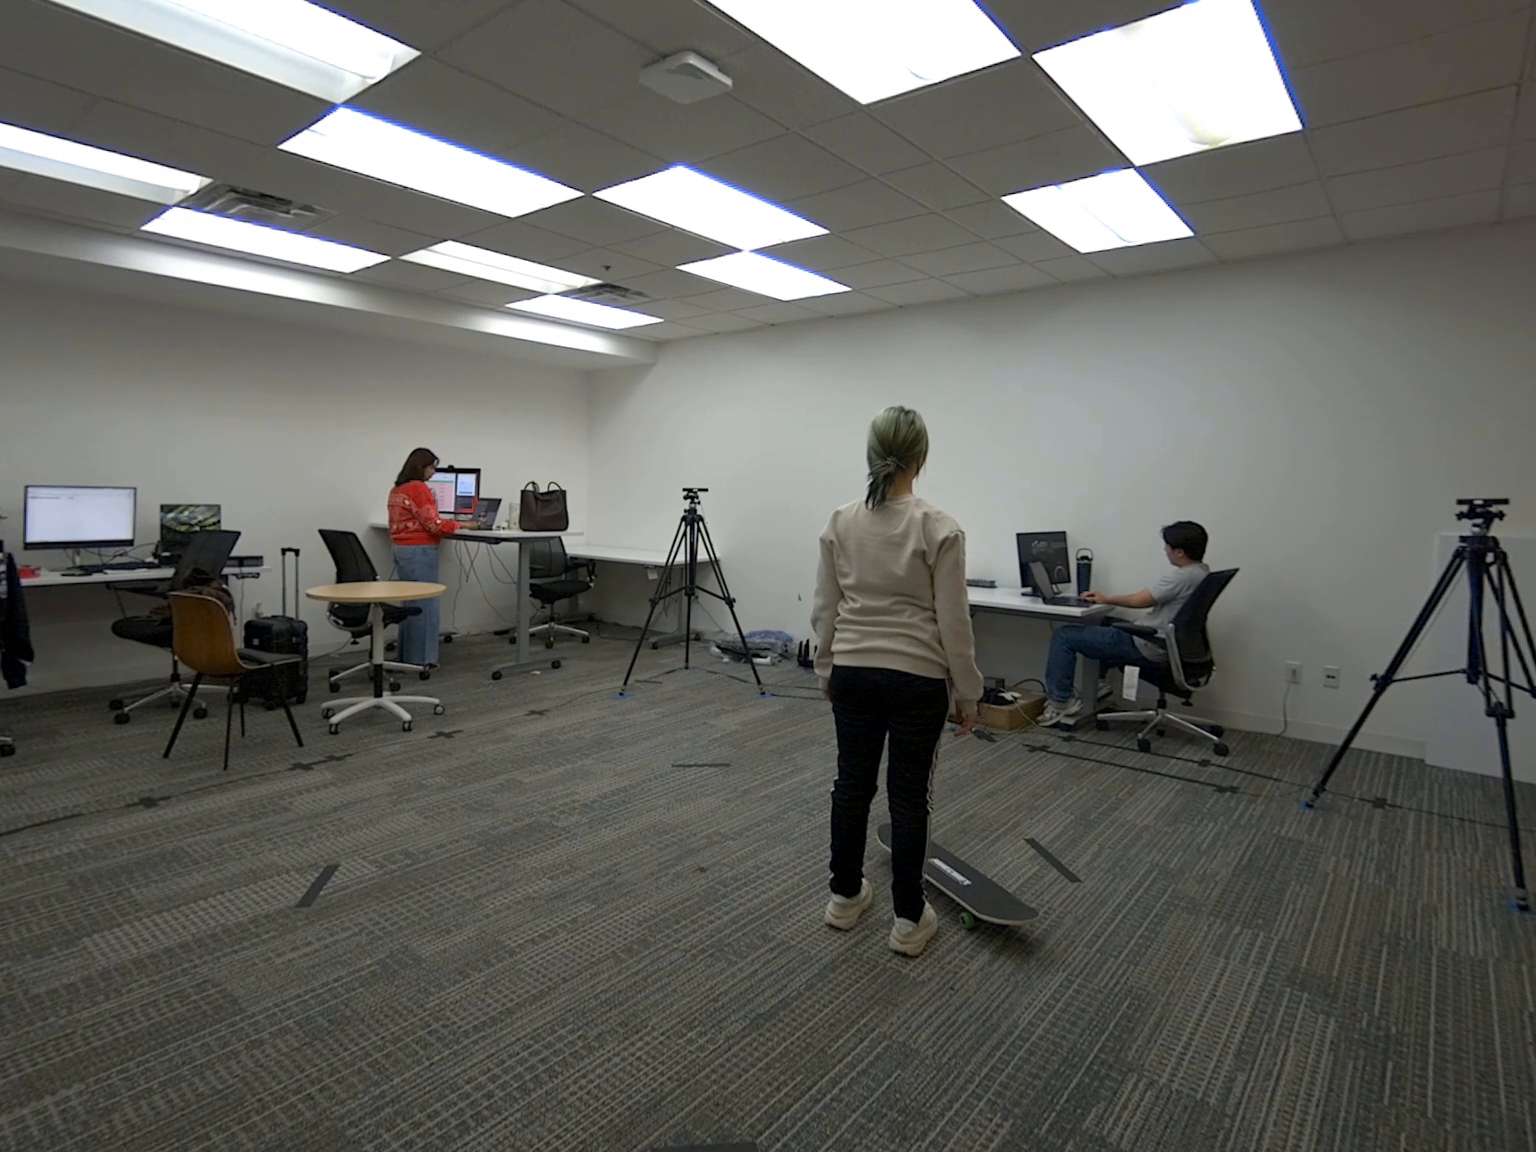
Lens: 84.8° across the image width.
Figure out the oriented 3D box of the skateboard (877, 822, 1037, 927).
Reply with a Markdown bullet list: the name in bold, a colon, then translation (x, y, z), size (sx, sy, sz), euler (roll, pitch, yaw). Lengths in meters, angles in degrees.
- **skateboard**: translation (0.619, 1.046, 2.942), size (0.189, 0.110, 0.806), euler (-1, 6, -23)
